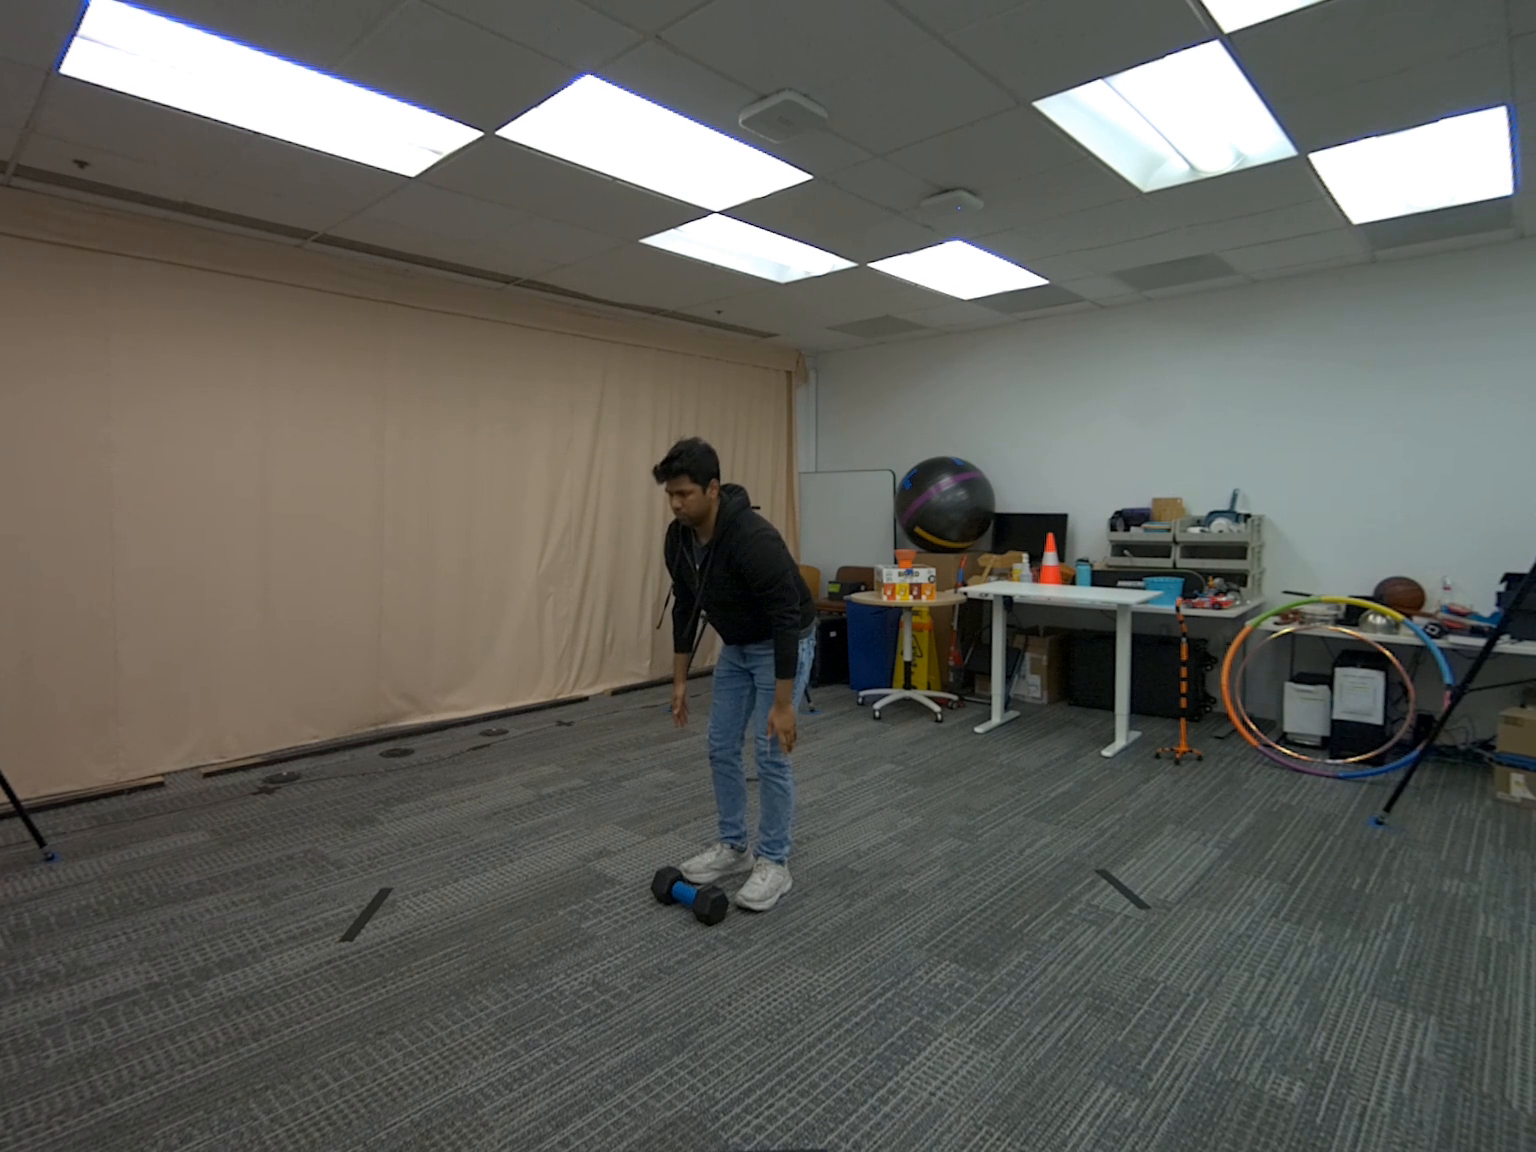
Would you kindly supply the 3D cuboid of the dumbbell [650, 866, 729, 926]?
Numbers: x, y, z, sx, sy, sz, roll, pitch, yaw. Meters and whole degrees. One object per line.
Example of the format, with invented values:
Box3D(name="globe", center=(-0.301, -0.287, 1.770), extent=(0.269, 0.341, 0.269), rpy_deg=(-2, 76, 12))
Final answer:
Box3D(name="dumbbell", center=(-0.269, 1.099, 2.897), extent=(0.303, 0.108, 0.119), rpy_deg=(5, 6, 43))
